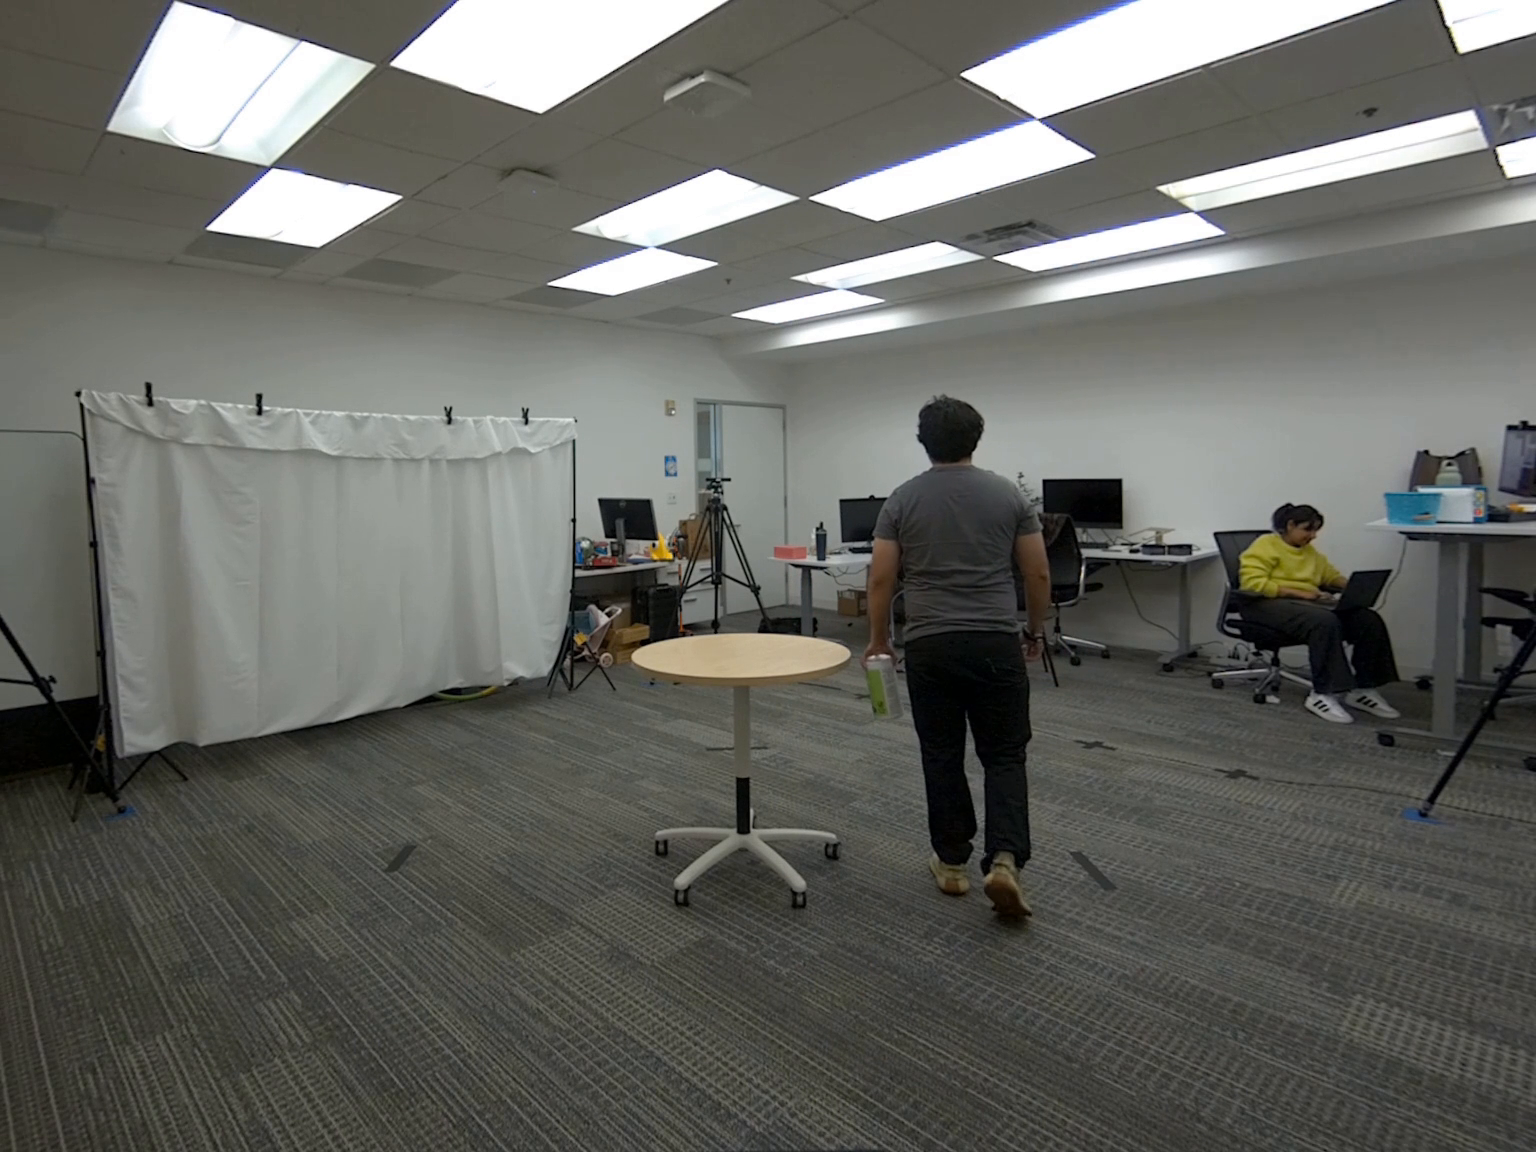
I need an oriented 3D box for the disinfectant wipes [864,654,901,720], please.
[{"bbox_3d":[0.411,0.399,3.071,0.118,0.217,0.118,-11,4,-1],"label":"disinfectant wipes"}]
